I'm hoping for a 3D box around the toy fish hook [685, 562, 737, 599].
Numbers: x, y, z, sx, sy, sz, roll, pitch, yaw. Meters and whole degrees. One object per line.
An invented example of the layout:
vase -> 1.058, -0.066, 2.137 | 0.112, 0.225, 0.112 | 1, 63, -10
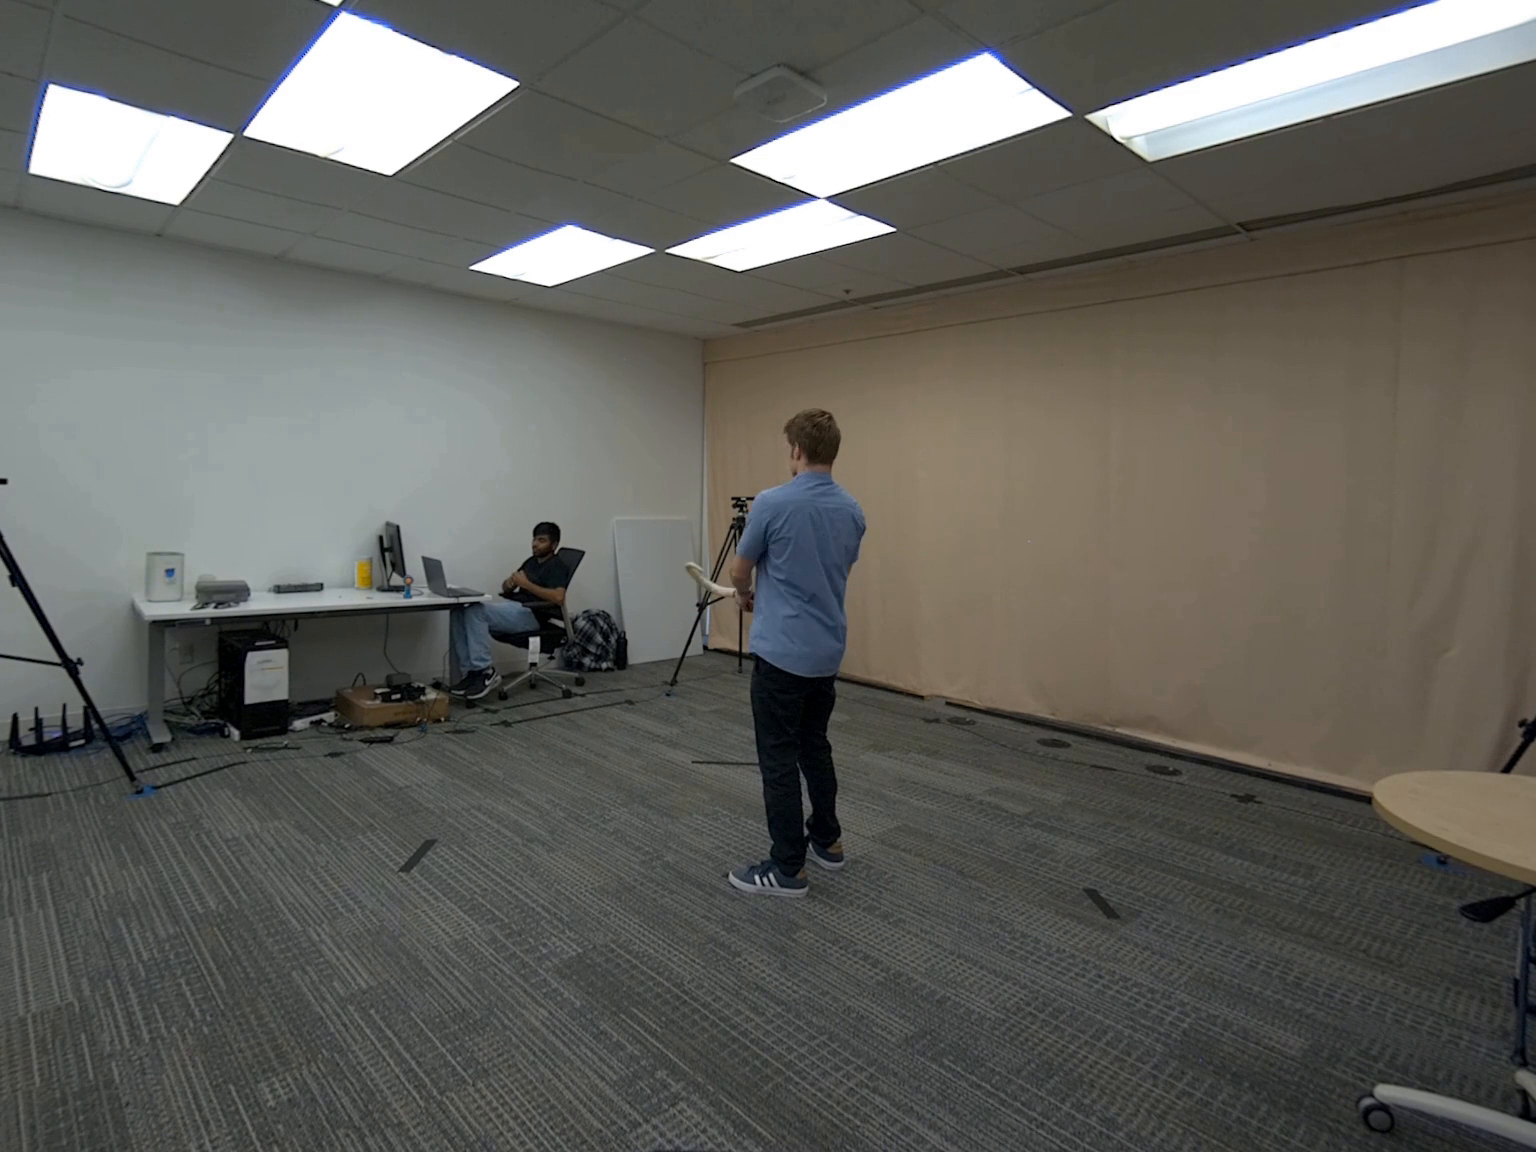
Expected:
toy fish hook -> -0.193, 0.047, 3.477 | 0.218, 0.048, 0.521 | 43, -15, -36
